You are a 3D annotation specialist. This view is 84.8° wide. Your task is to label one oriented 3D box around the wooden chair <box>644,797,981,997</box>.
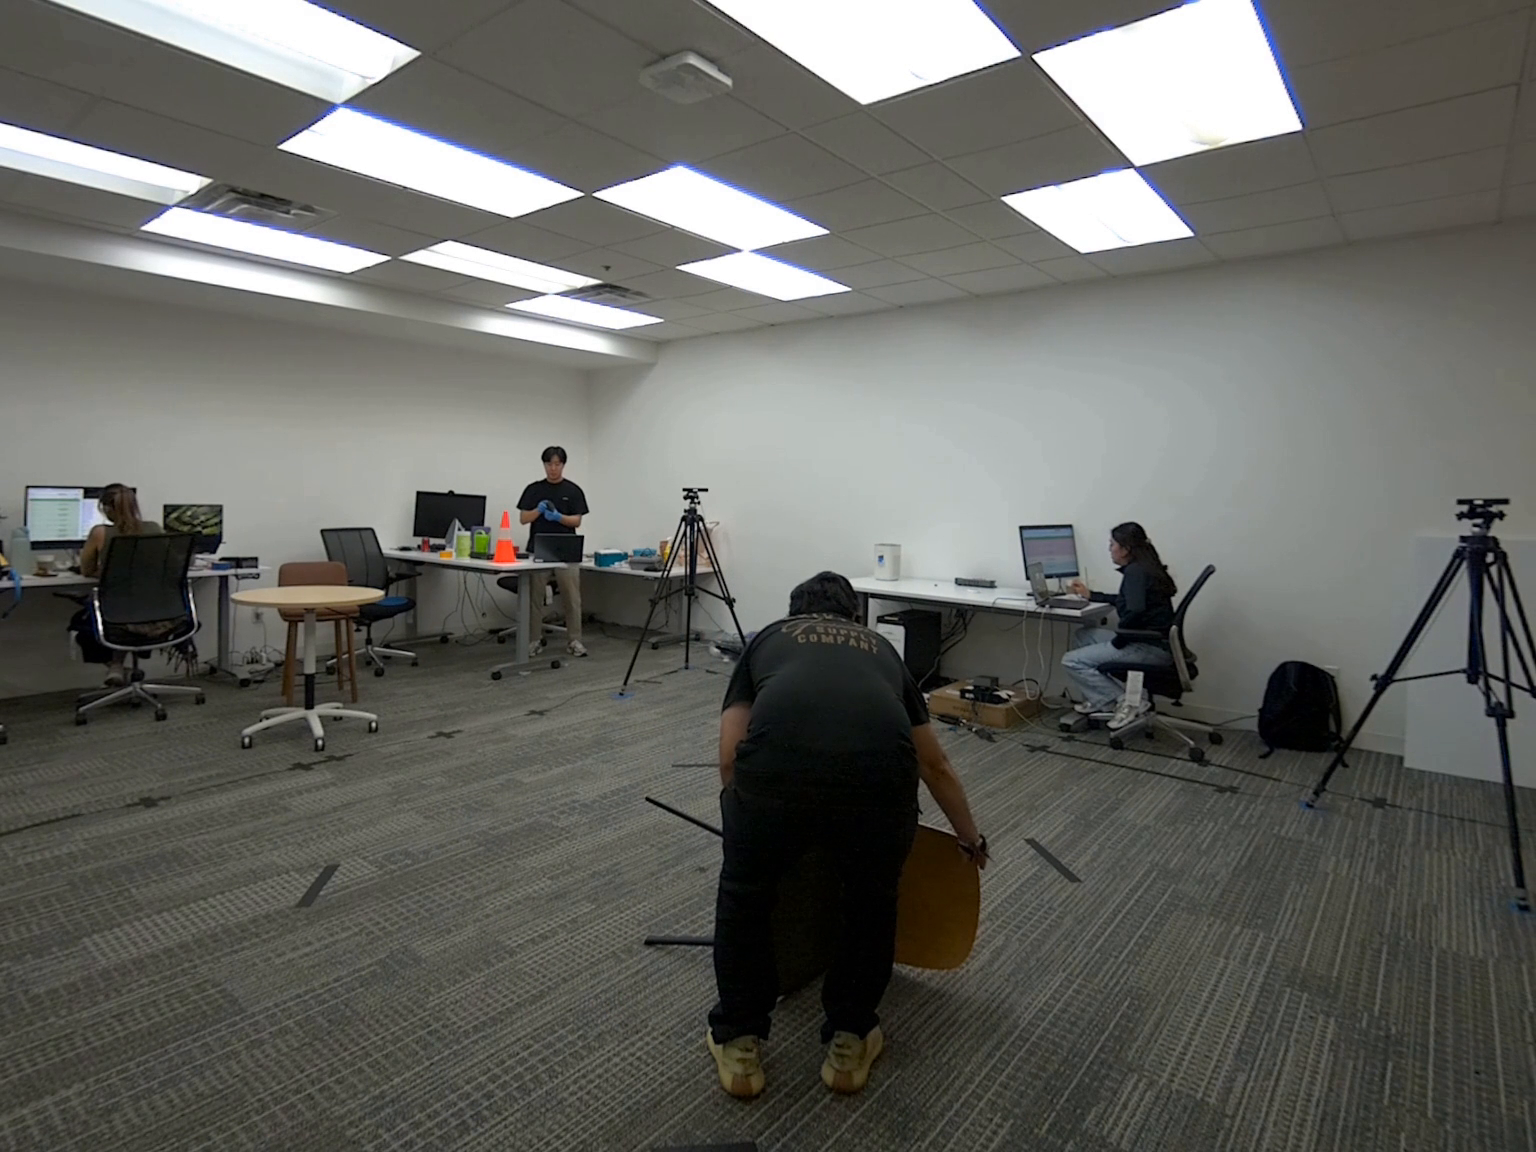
[{"bbox_3d":[0.096,0.908,2.464,0.905,0.477,0.508,5,5,34],"label":"wooden chair"}]
